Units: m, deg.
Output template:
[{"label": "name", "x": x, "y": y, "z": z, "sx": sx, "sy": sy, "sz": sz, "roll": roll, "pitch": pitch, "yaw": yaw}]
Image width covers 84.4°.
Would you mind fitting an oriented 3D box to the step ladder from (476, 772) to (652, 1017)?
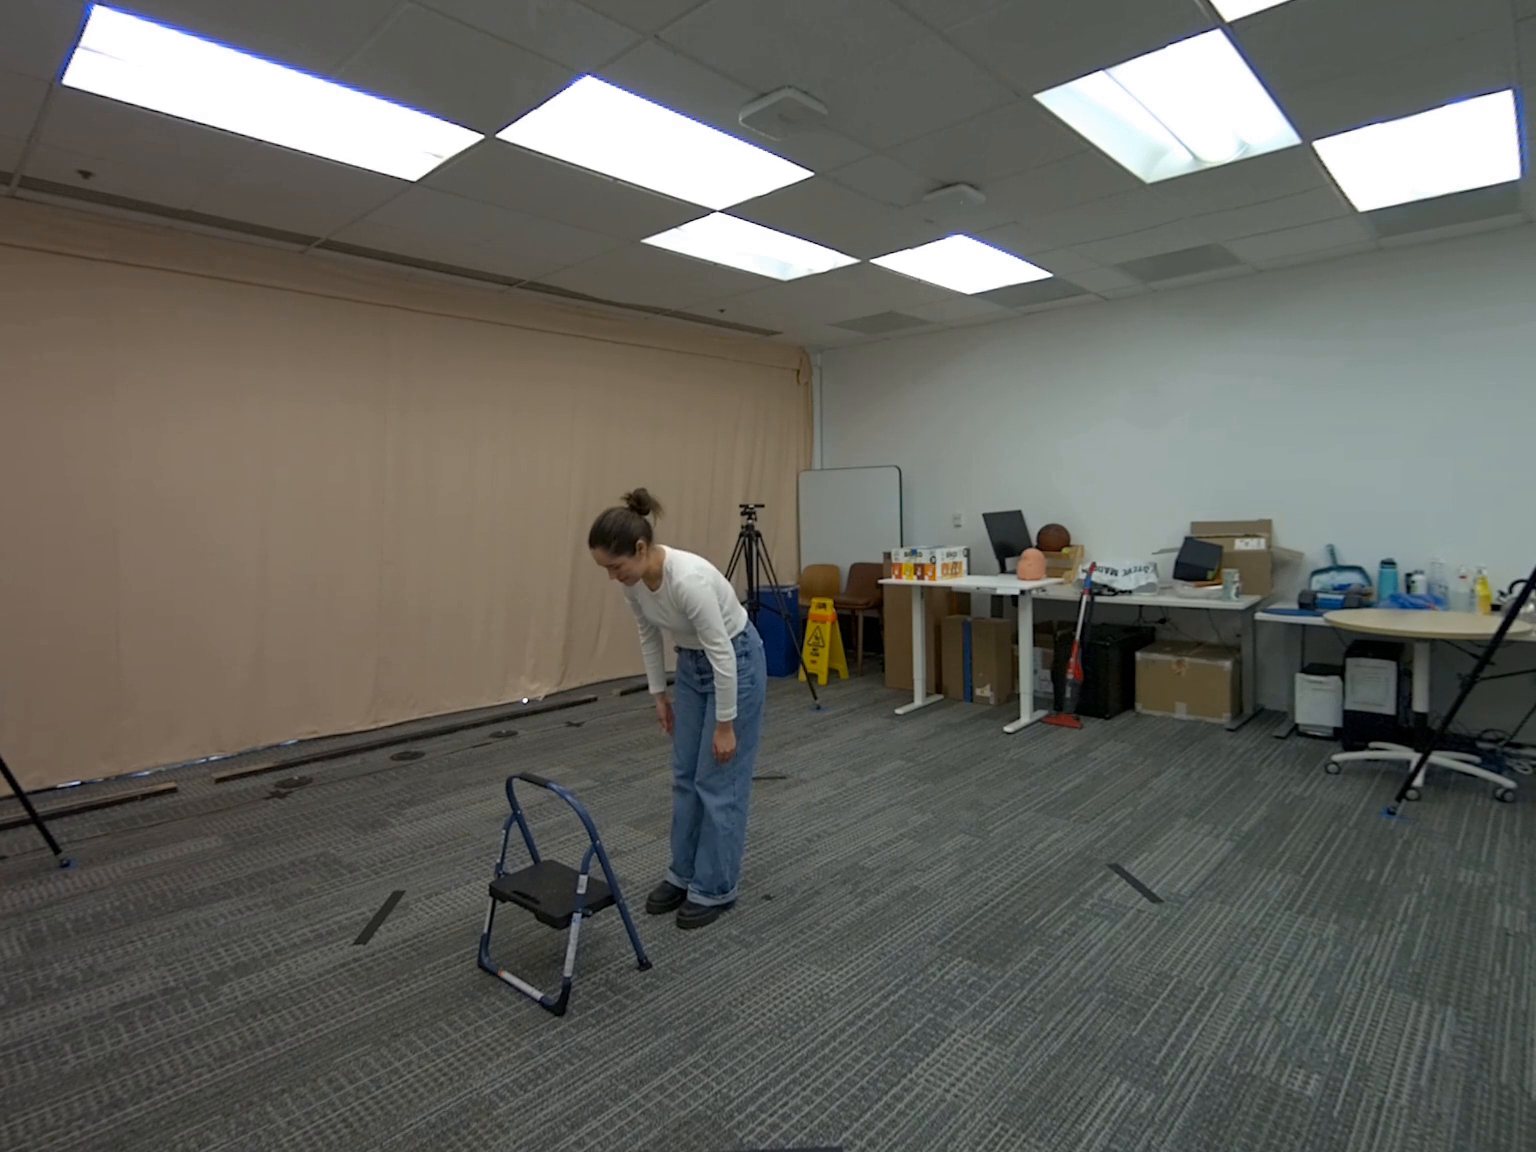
[{"label": "step ladder", "x": -0.628, "y": 0.889, "z": 2.545, "sx": 0.444, "sy": 0.605, "sz": 0.339, "roll": 1, "pitch": 4, "yaw": 39}]
